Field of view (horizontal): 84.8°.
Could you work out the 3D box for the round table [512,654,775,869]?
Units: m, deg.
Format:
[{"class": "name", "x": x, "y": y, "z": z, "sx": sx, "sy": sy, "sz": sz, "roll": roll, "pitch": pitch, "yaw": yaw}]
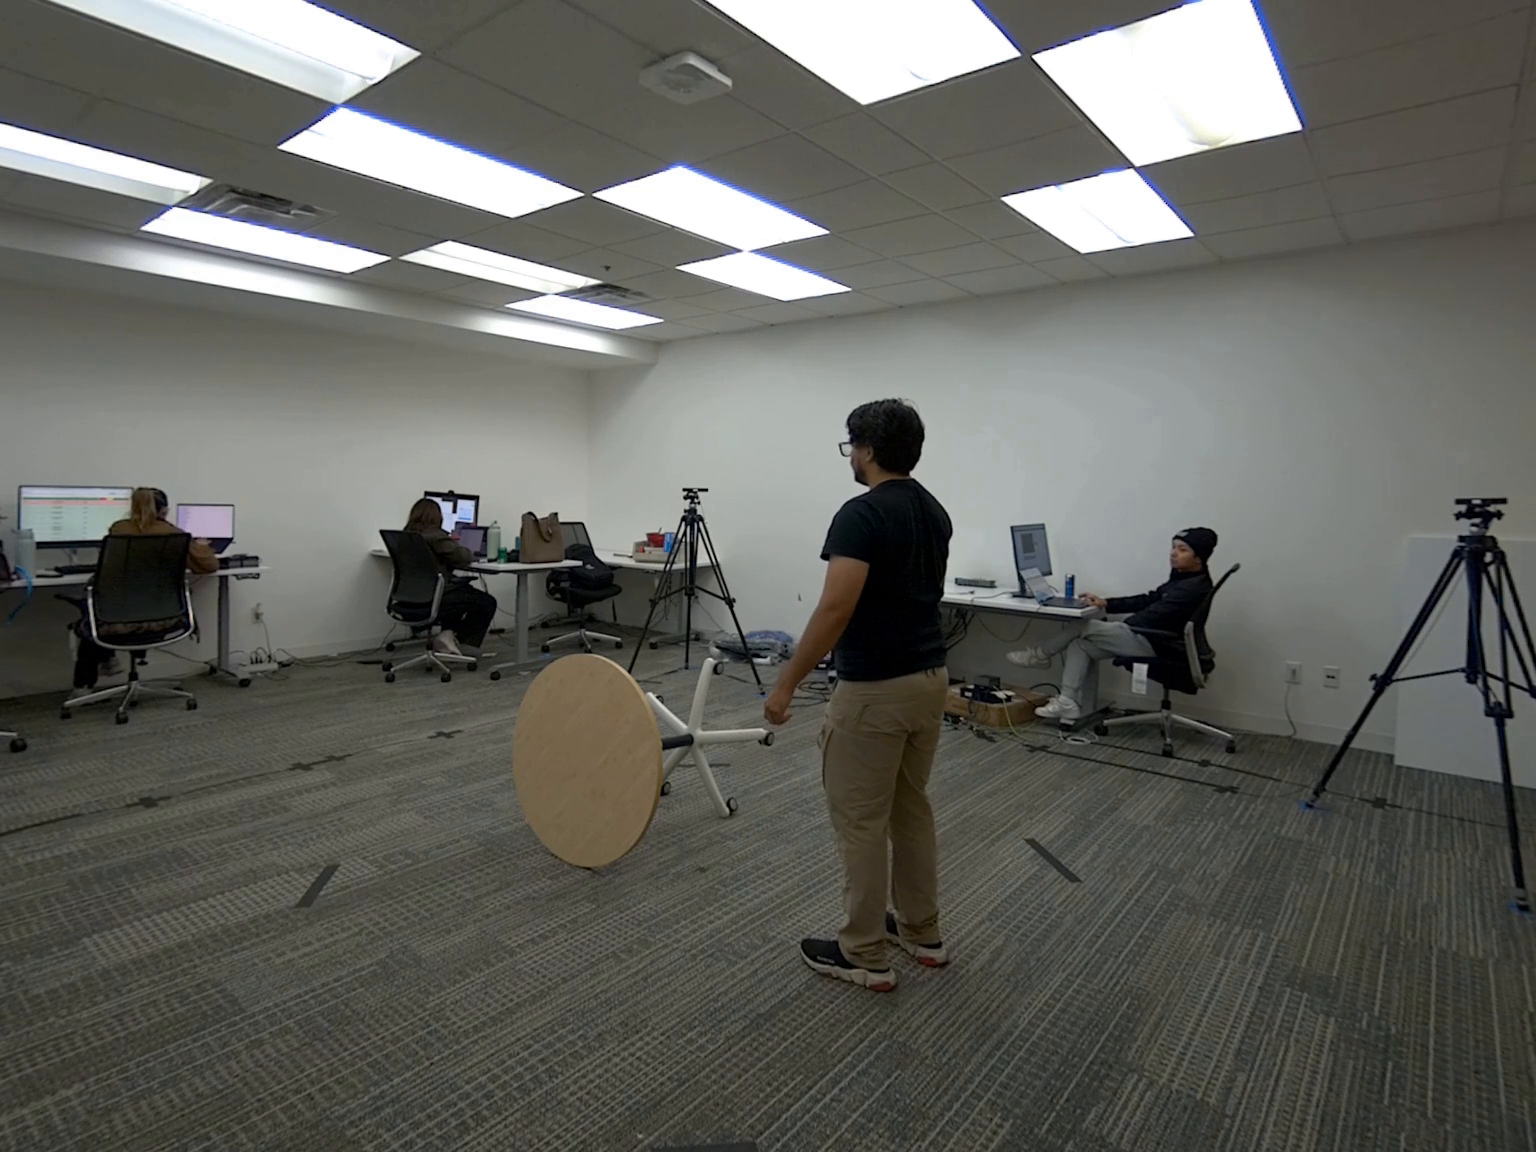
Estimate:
[{"class": "round table", "x": -0.497, "y": 0.681, "z": 3.473, "sx": 0.810, "sy": 0.786, "sz": 0.761, "roll": 4, "pitch": -1, "yaw": 34}]
